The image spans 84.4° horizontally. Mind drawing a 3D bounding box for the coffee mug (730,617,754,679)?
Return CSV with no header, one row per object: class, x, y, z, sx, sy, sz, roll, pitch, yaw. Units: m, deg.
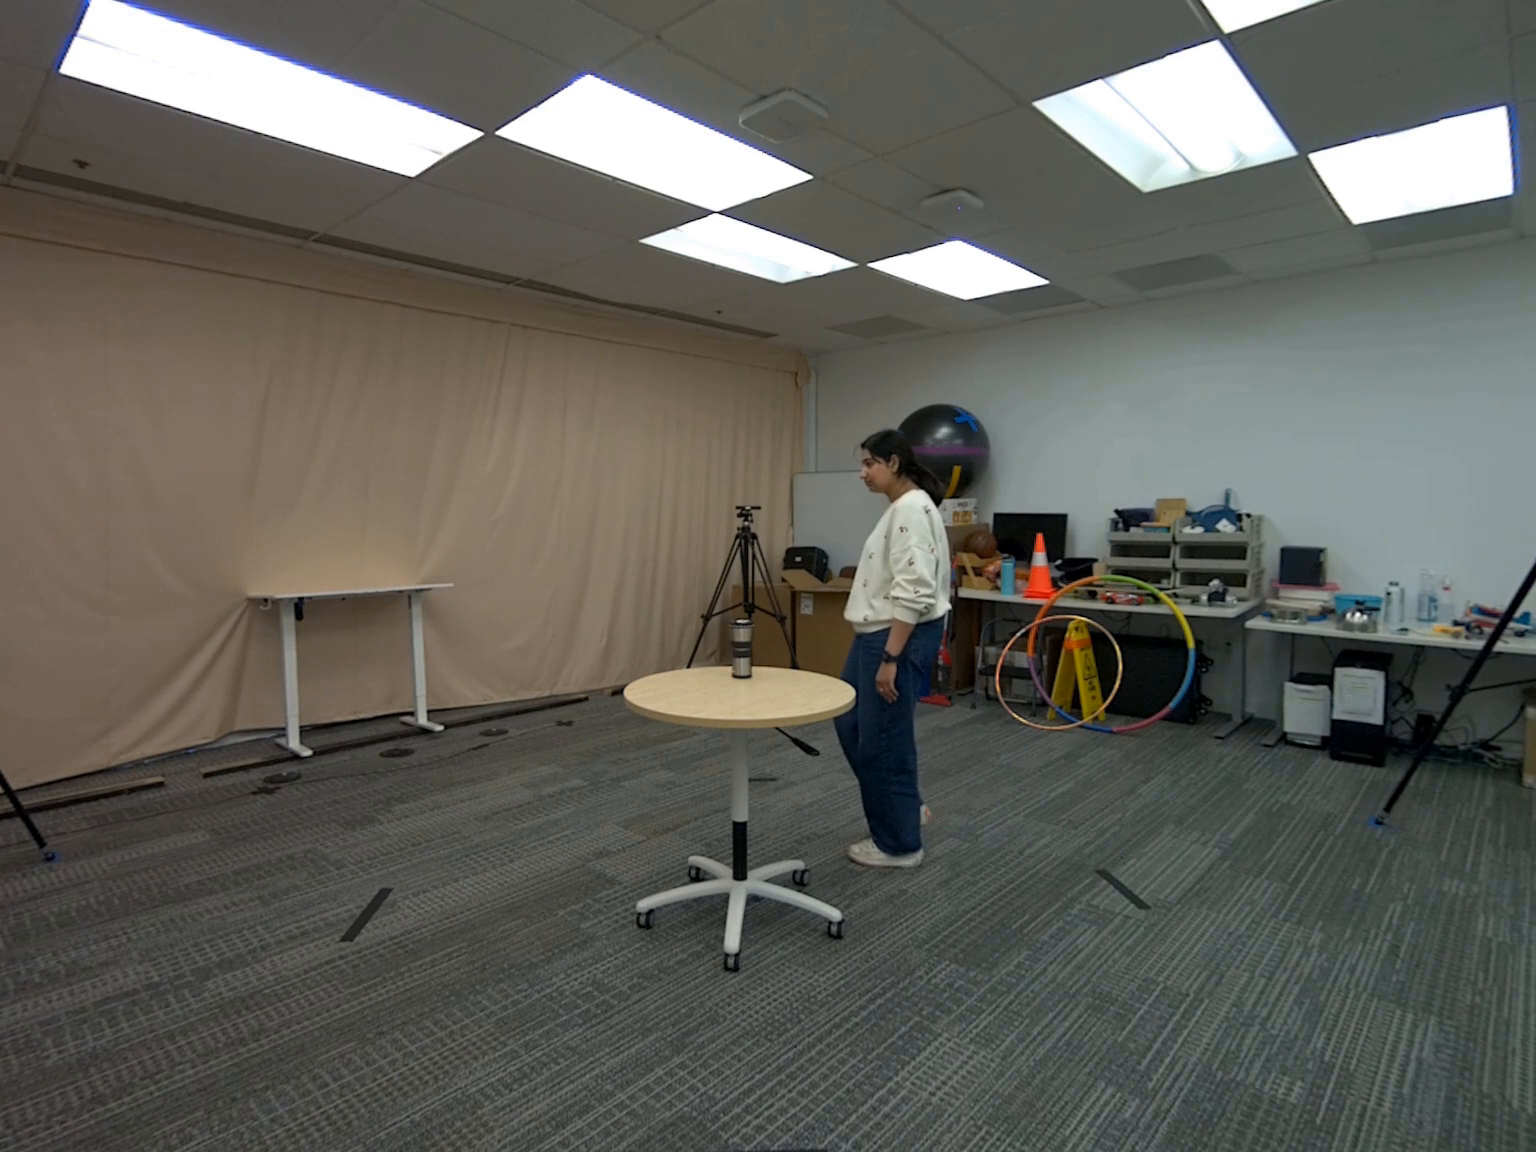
coffee mug,-0.076,0.262,3.017,0.089,0.202,0.120,0,3,17
